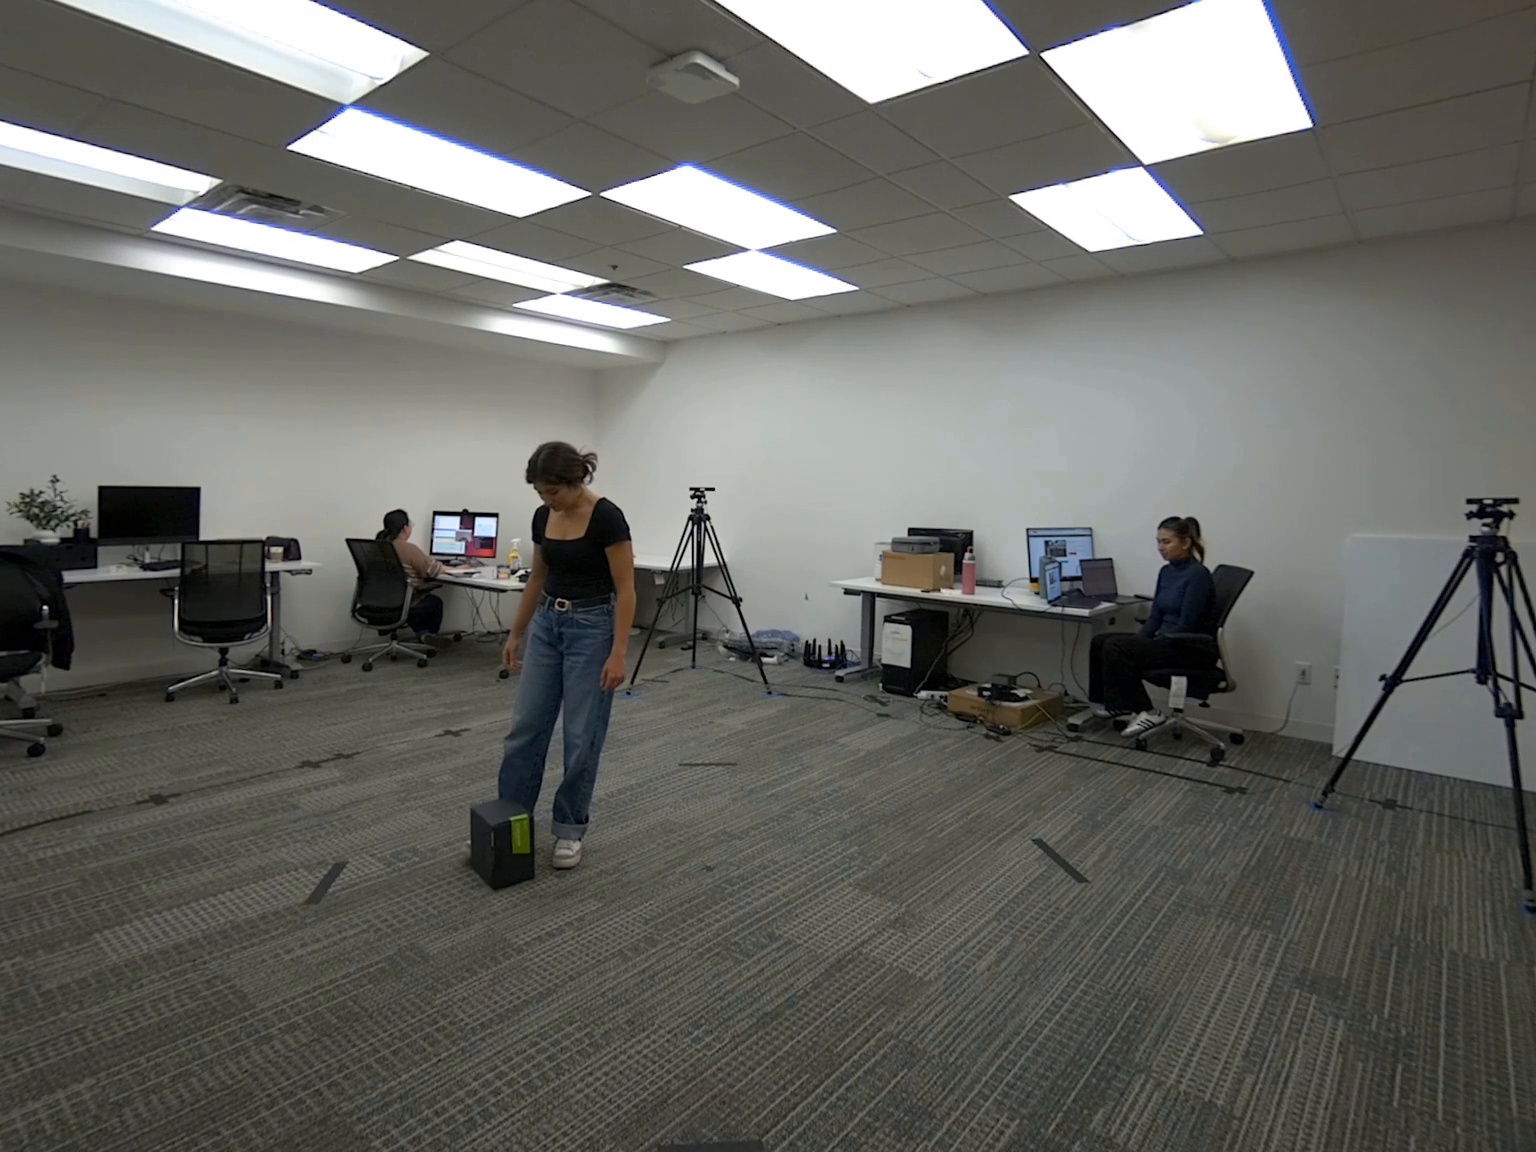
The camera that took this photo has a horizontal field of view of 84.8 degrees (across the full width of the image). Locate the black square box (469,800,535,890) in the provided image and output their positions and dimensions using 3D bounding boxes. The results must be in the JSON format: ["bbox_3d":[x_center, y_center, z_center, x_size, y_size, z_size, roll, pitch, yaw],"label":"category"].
[{"bbox_3d":[-0.950,0.943,3.022,0.151,0.227,0.224,-4,6,-38],"label":"black square box"}]
